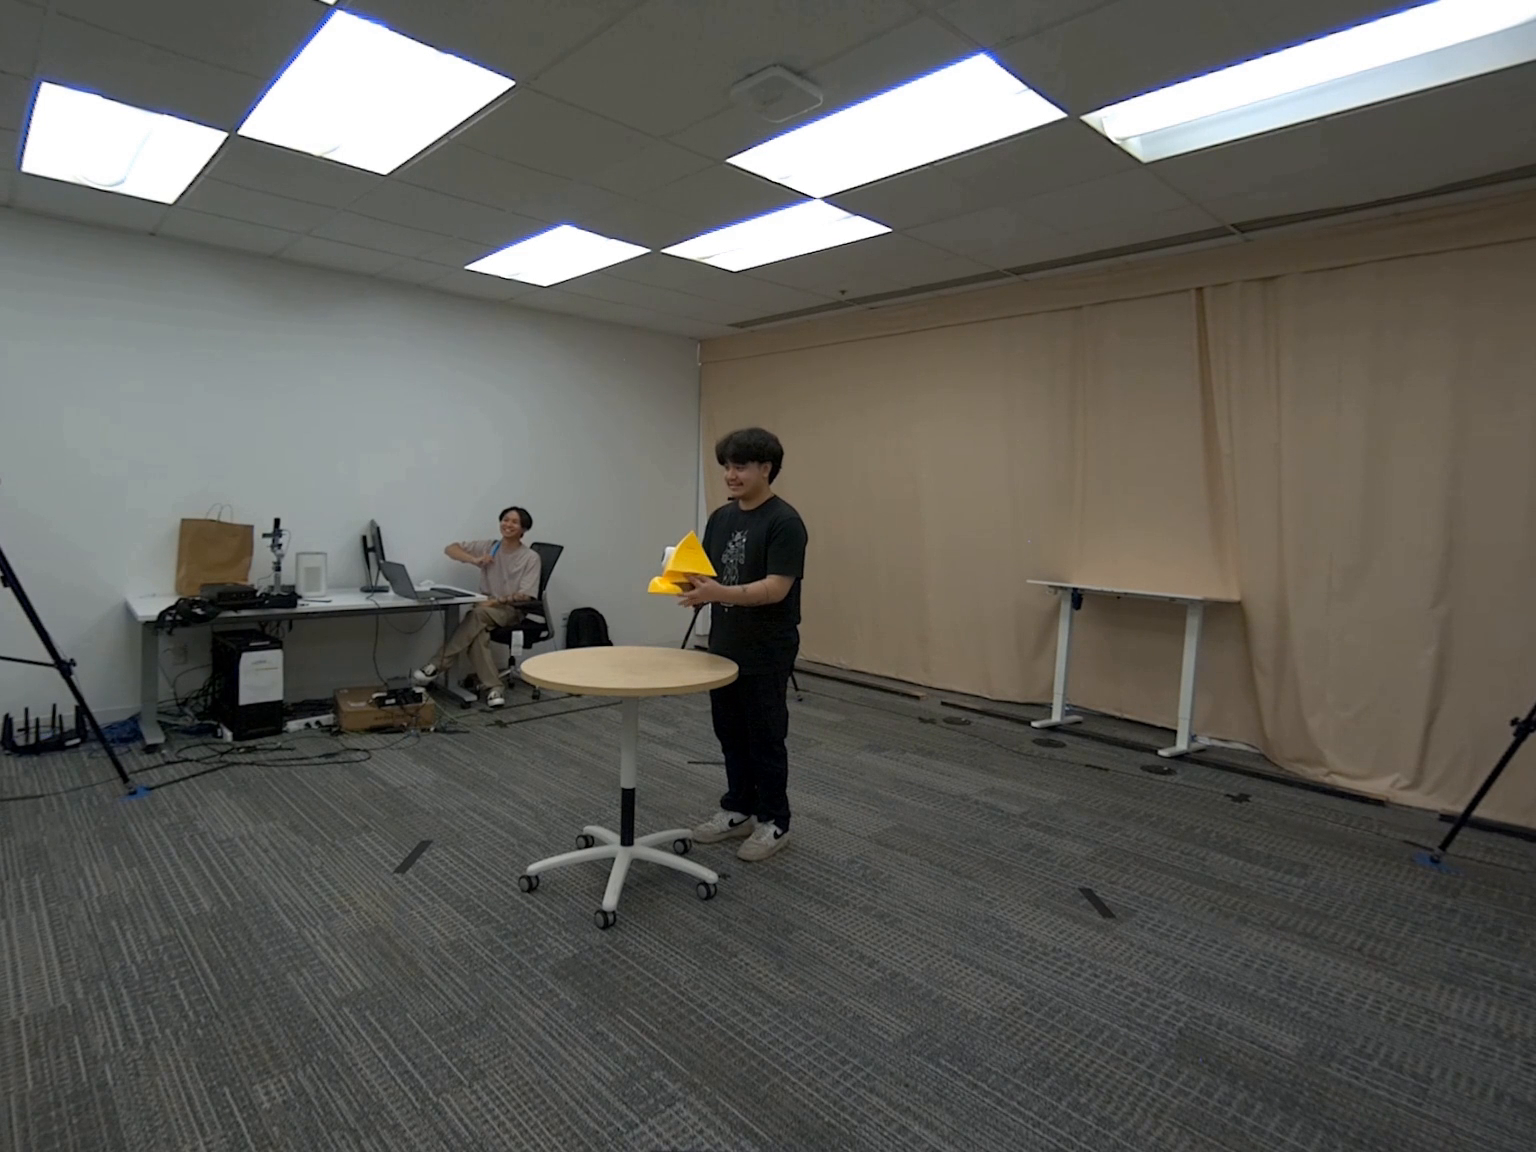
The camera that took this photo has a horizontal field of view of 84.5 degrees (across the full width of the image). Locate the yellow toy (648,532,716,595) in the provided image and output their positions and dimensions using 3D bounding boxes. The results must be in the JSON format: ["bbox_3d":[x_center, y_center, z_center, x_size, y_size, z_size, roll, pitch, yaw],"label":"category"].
[{"bbox_3d":[-0.327,-0.048,3.036,0.199,0.231,0.197,8,-7,-39],"label":"yellow toy"}]
